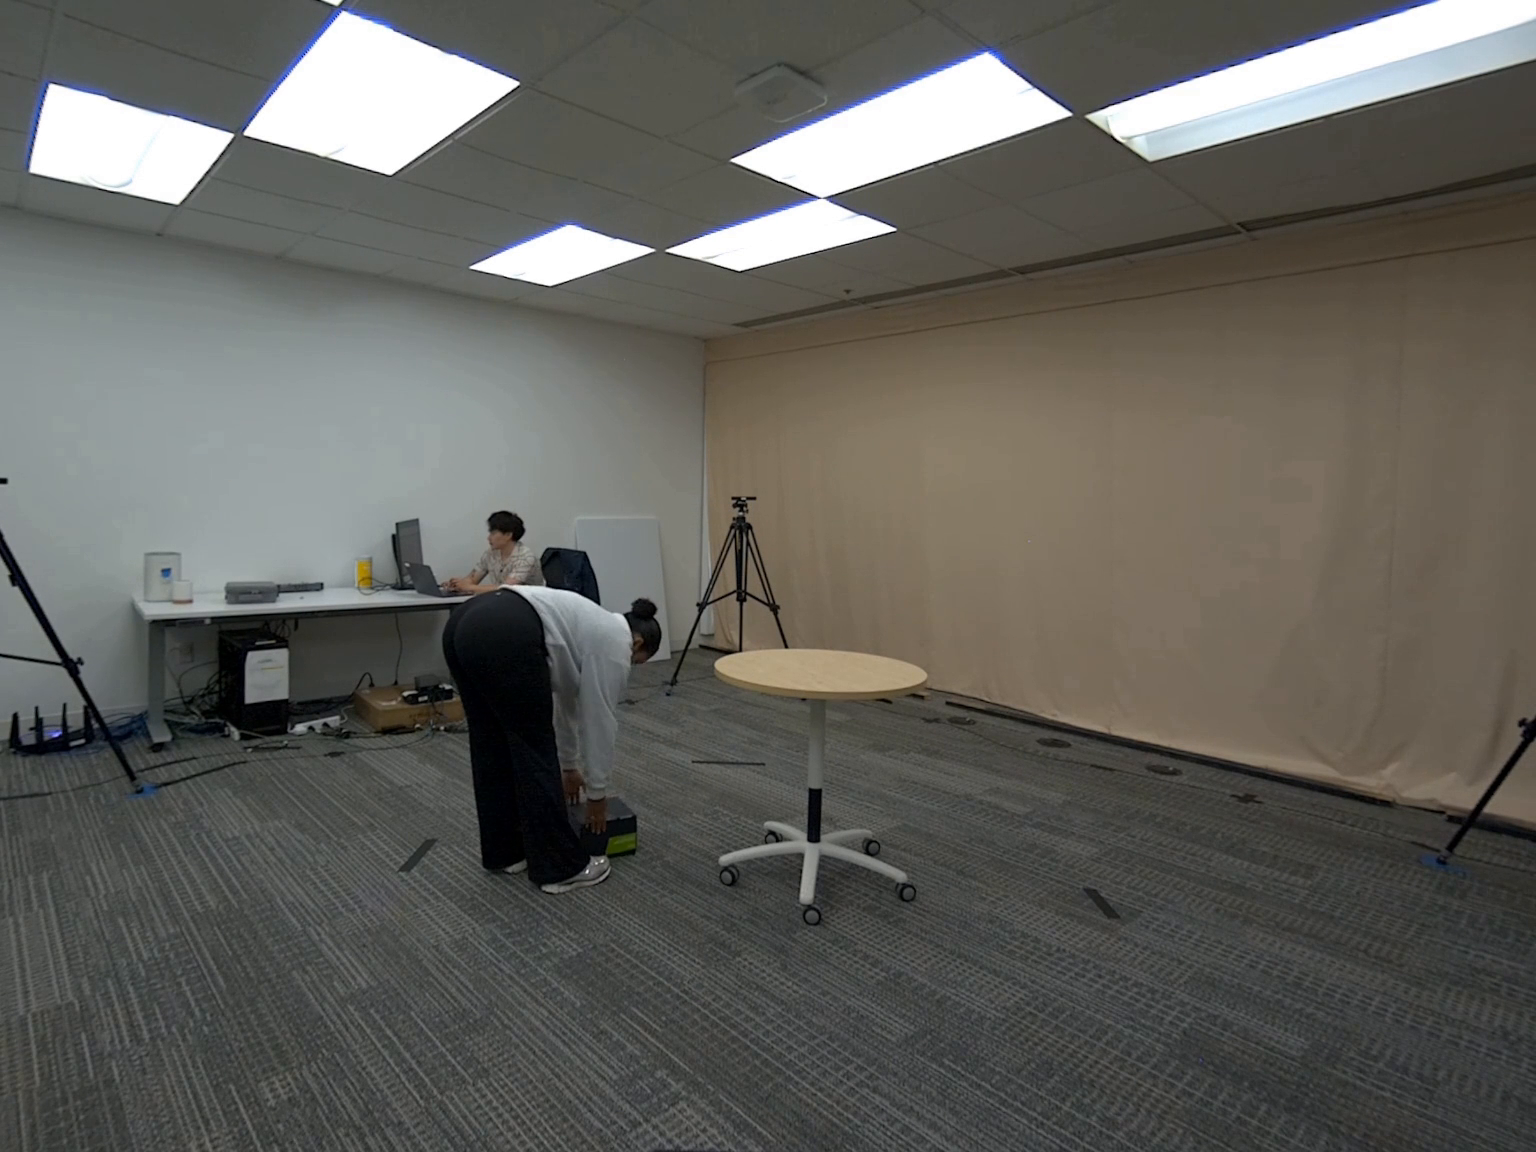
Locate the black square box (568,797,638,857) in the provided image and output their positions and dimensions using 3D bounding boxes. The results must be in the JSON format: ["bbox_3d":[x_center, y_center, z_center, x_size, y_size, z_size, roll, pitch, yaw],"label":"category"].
[{"bbox_3d":[-0.668,0.982,3.307,0.223,0.155,0.222,-1,7,-30],"label":"black square box"}]
